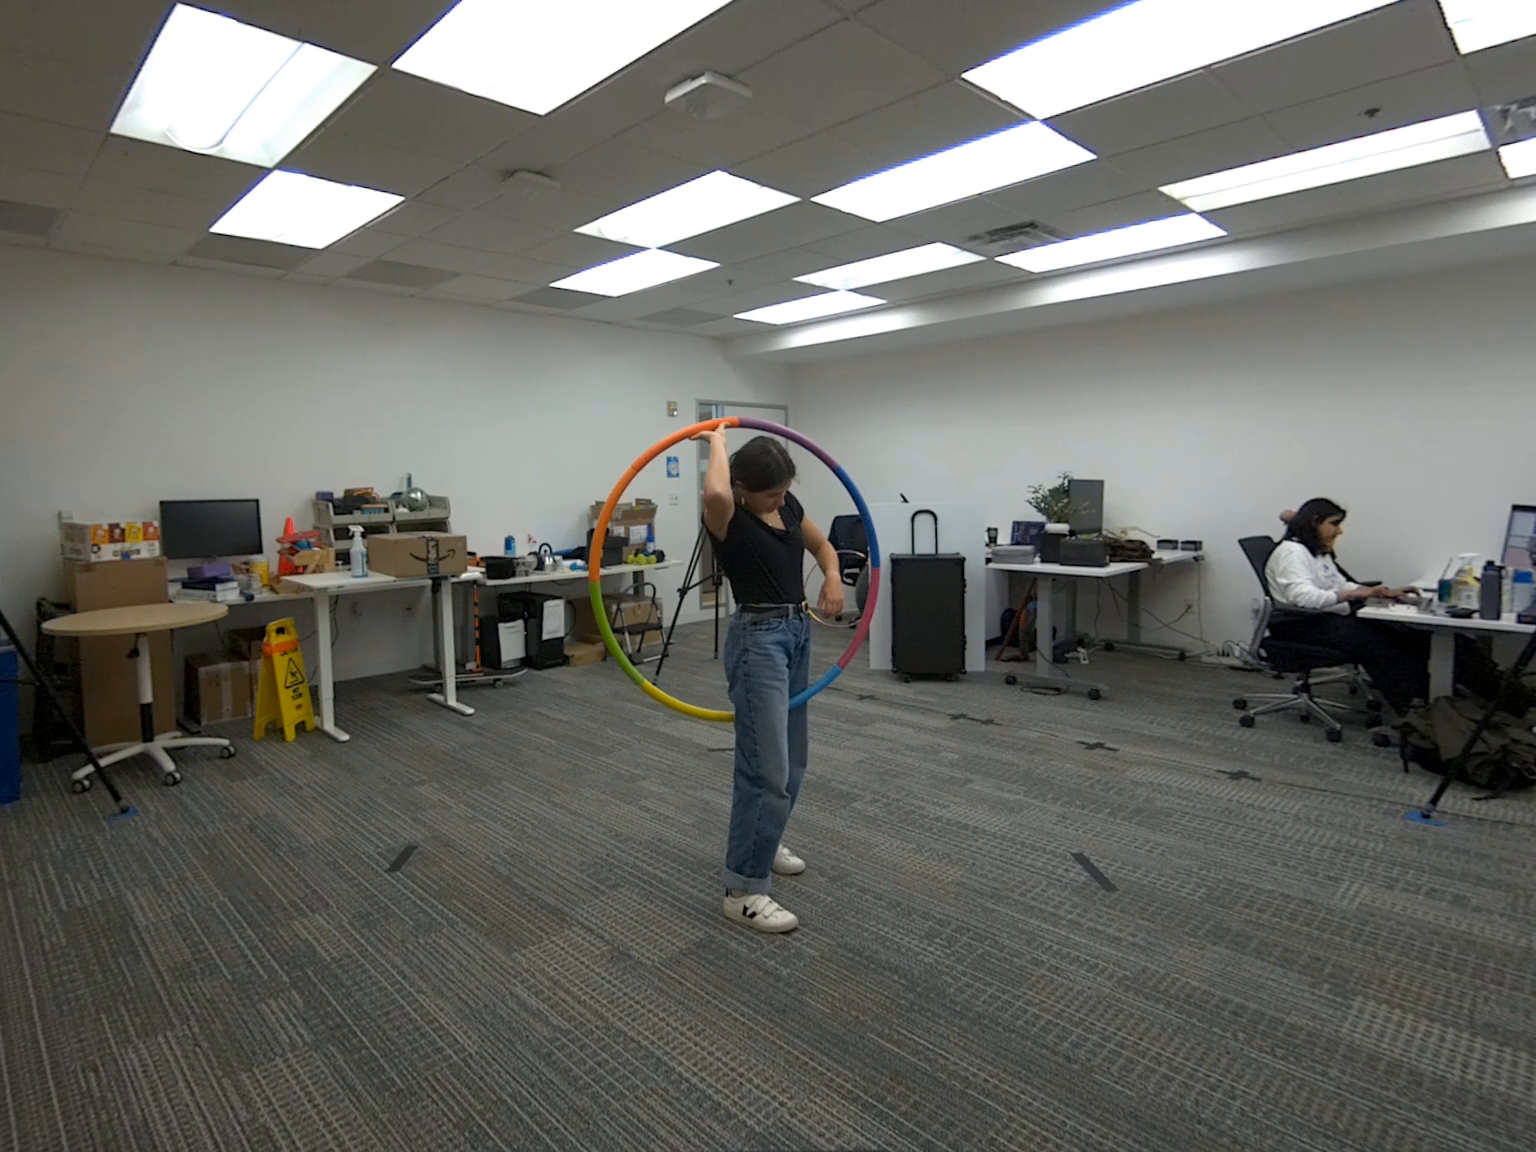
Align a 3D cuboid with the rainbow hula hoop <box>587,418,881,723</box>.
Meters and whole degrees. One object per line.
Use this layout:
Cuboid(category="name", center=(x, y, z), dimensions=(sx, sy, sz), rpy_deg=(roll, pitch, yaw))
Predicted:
Cuboid(category="rainbow hula hoop", center=(-0.087, -0.019, 2.780), dimensions=(0.965, 0.974, 0.036), rpy_deg=(-2, 5, -15))
